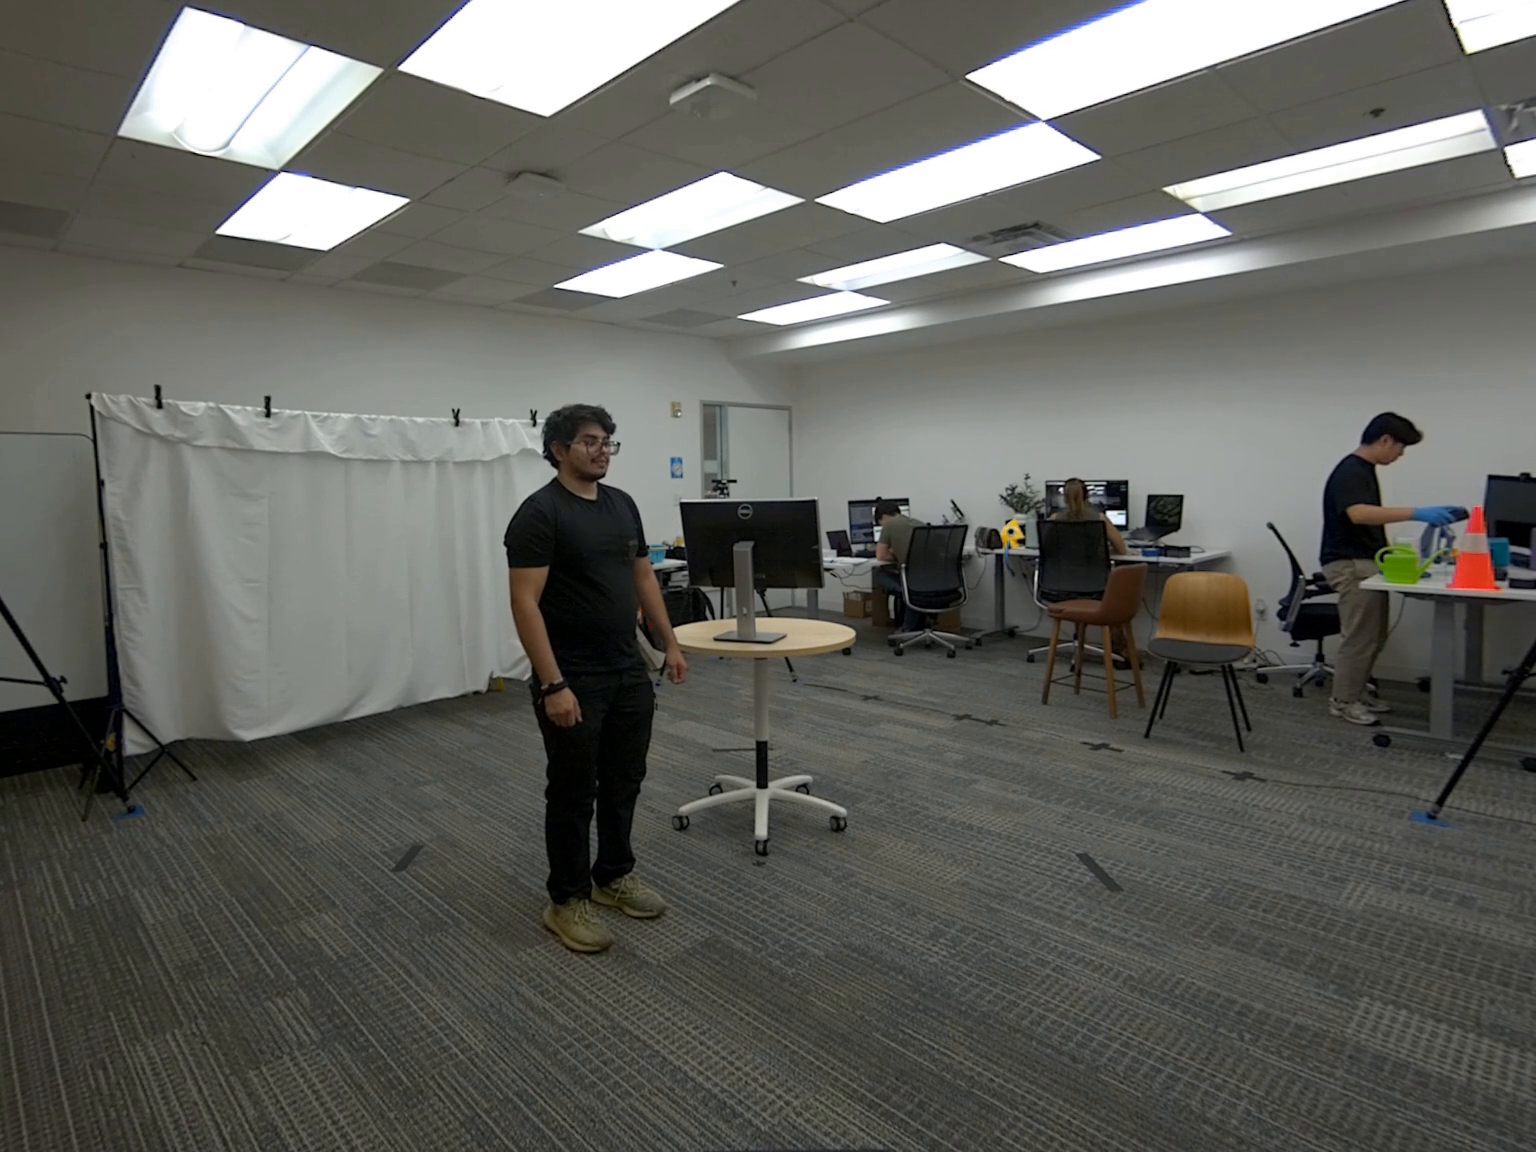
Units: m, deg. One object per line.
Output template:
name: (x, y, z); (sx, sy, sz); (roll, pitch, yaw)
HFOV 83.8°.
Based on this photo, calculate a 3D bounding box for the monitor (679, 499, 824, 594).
monitor: (-0.082, -0.020, 3.291); (0.576, 0.549, 0.208); (1, 10, 20)
